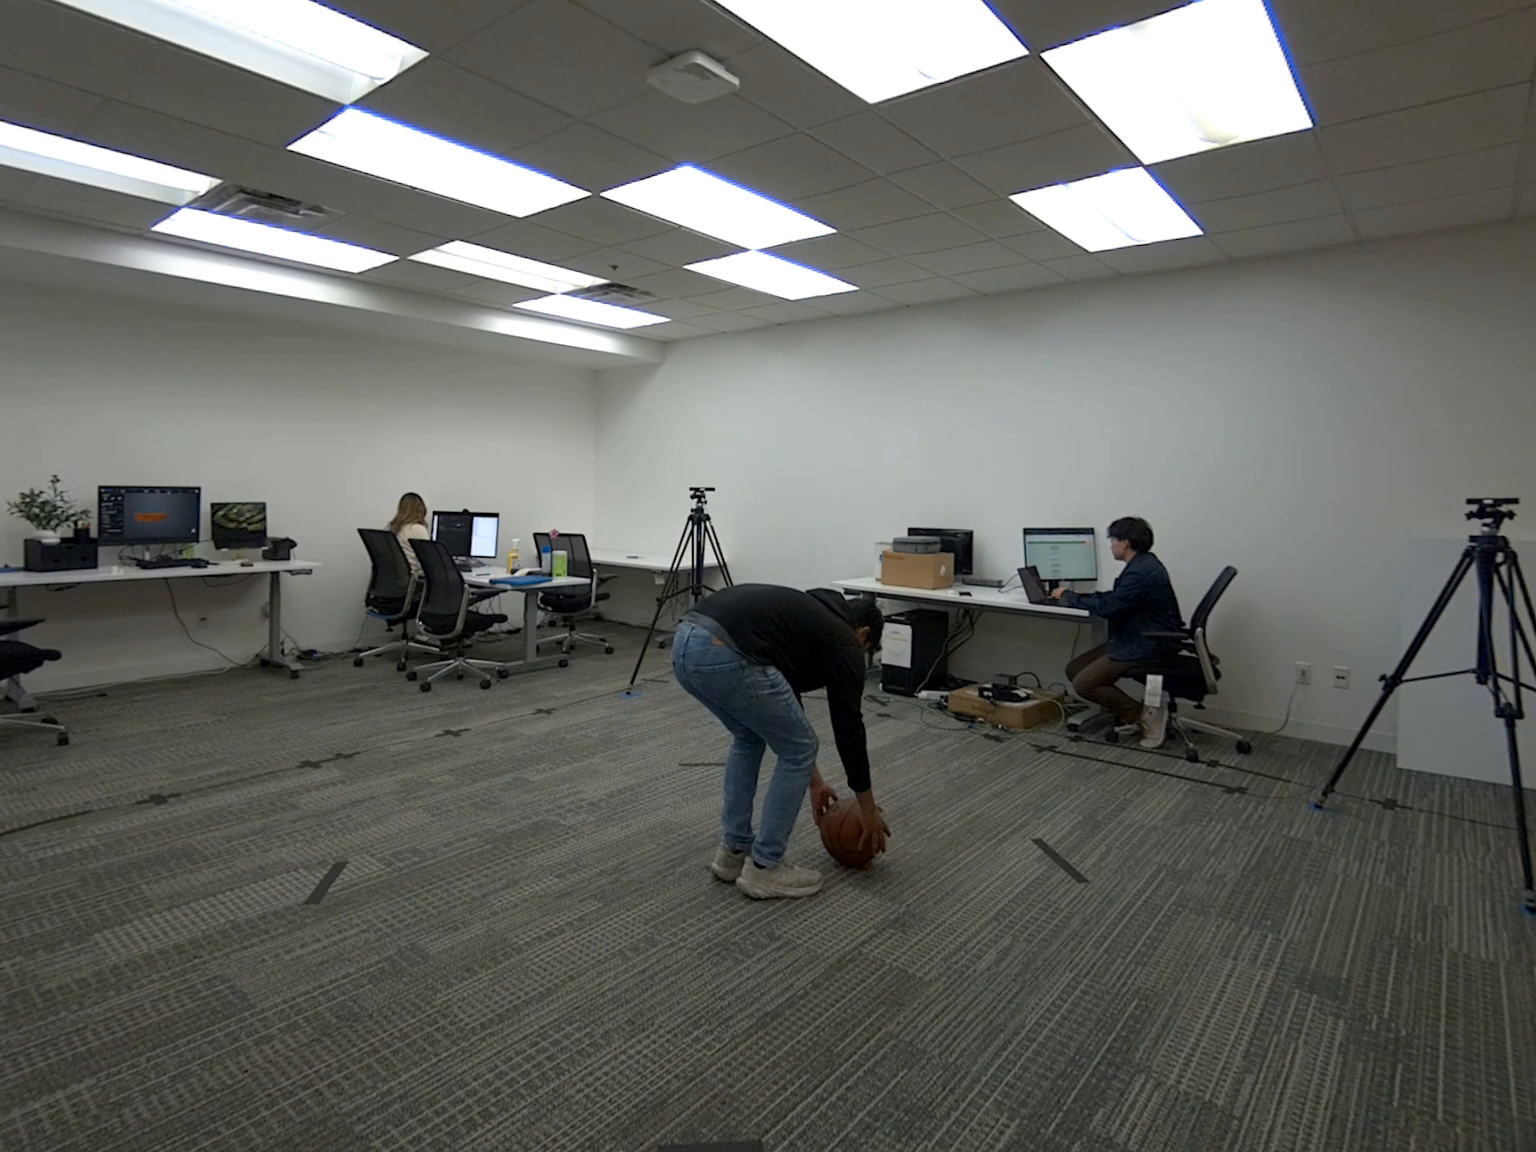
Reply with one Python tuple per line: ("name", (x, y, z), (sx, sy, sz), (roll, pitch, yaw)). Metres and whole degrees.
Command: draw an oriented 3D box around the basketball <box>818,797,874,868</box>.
("basketball", (0.309, 0.943, 3.177), (0.235, 0.235, 0.237), (1, 4, -2))
